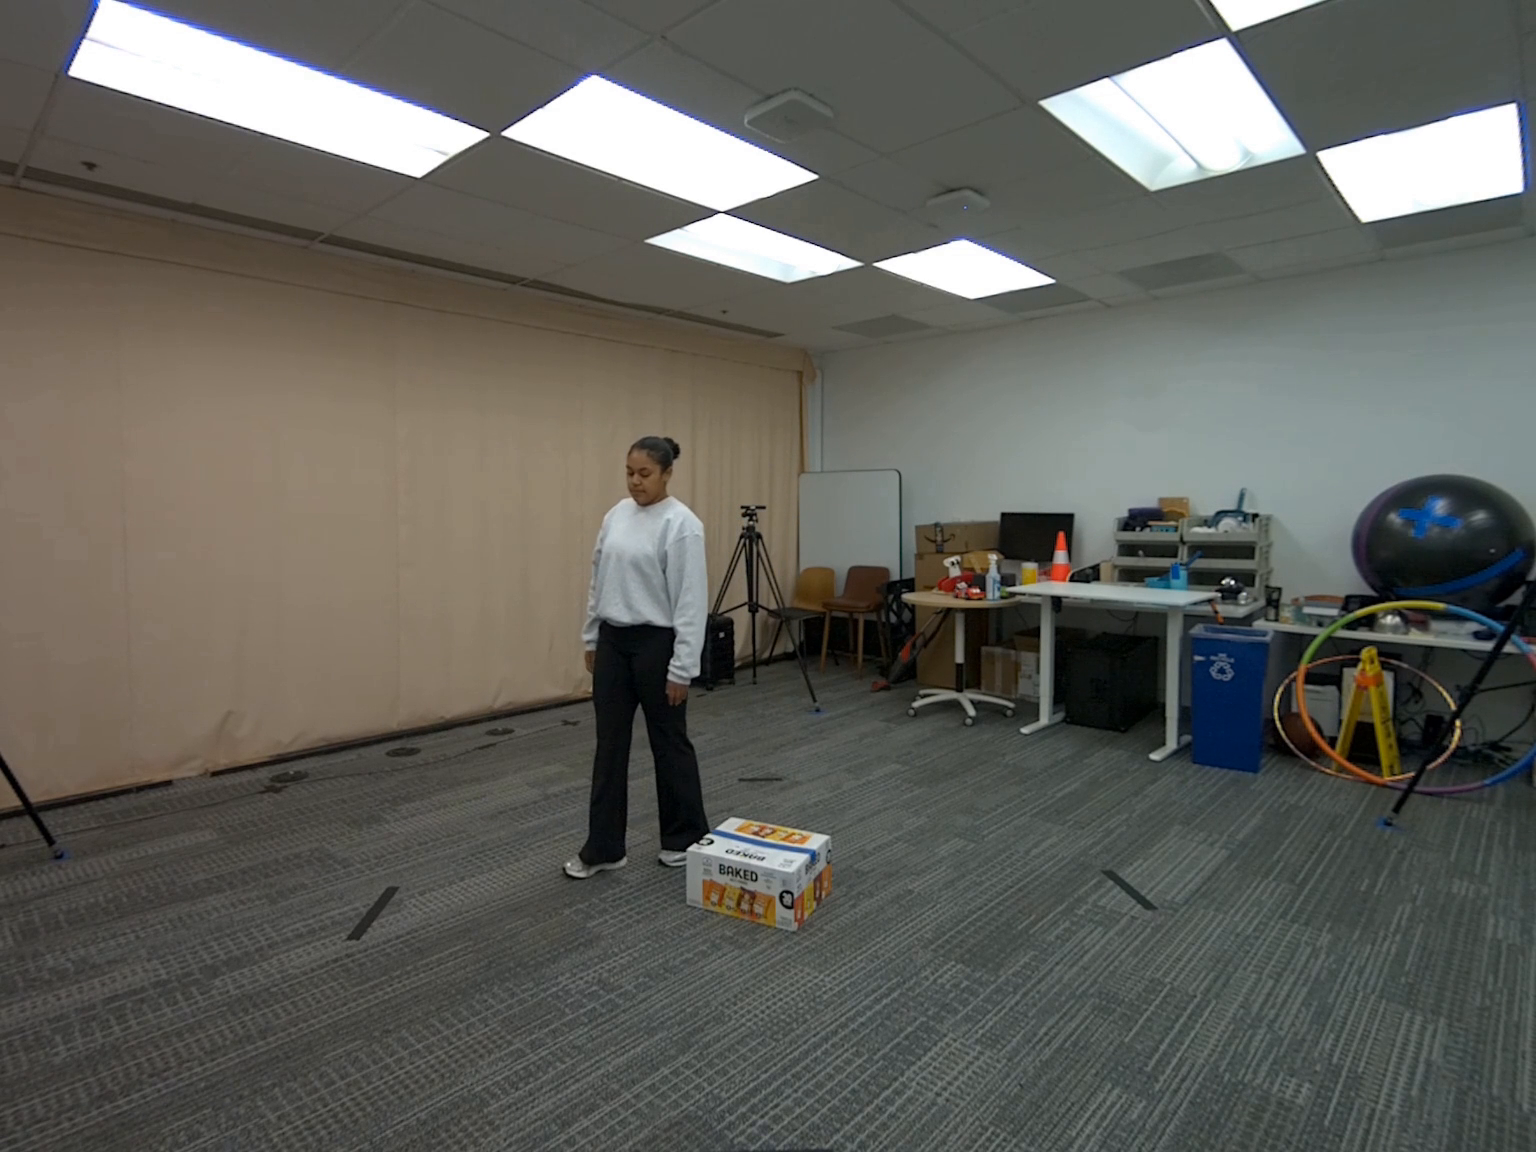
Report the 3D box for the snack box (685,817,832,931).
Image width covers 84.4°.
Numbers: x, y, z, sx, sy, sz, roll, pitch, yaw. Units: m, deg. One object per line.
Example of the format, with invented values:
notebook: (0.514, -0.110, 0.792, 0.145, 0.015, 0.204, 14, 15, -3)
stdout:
snack box: (-0.023, 1.043, 2.978, 0.416, 0.205, 0.332, 2, 5, 27)
